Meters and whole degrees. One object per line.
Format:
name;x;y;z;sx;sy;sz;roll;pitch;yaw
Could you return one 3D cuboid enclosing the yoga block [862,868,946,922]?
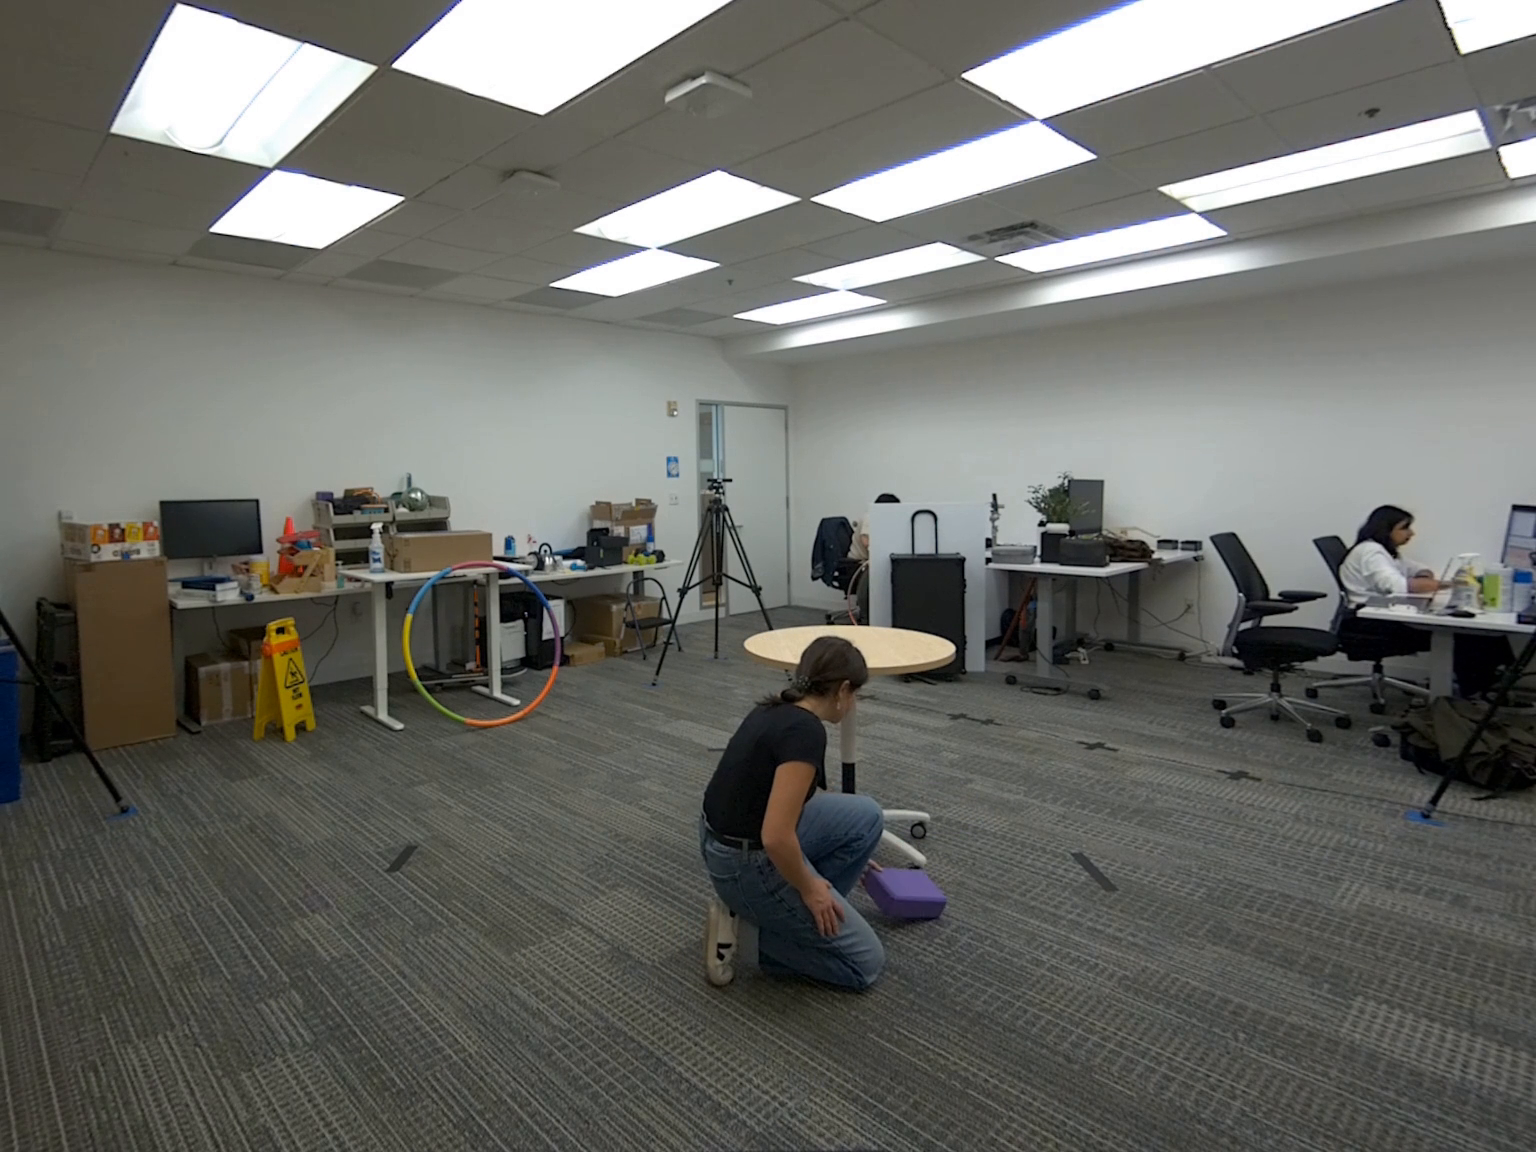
yoga block;0.445;0.997;2.704;0.222;0.076;0.154;15;10;-30
